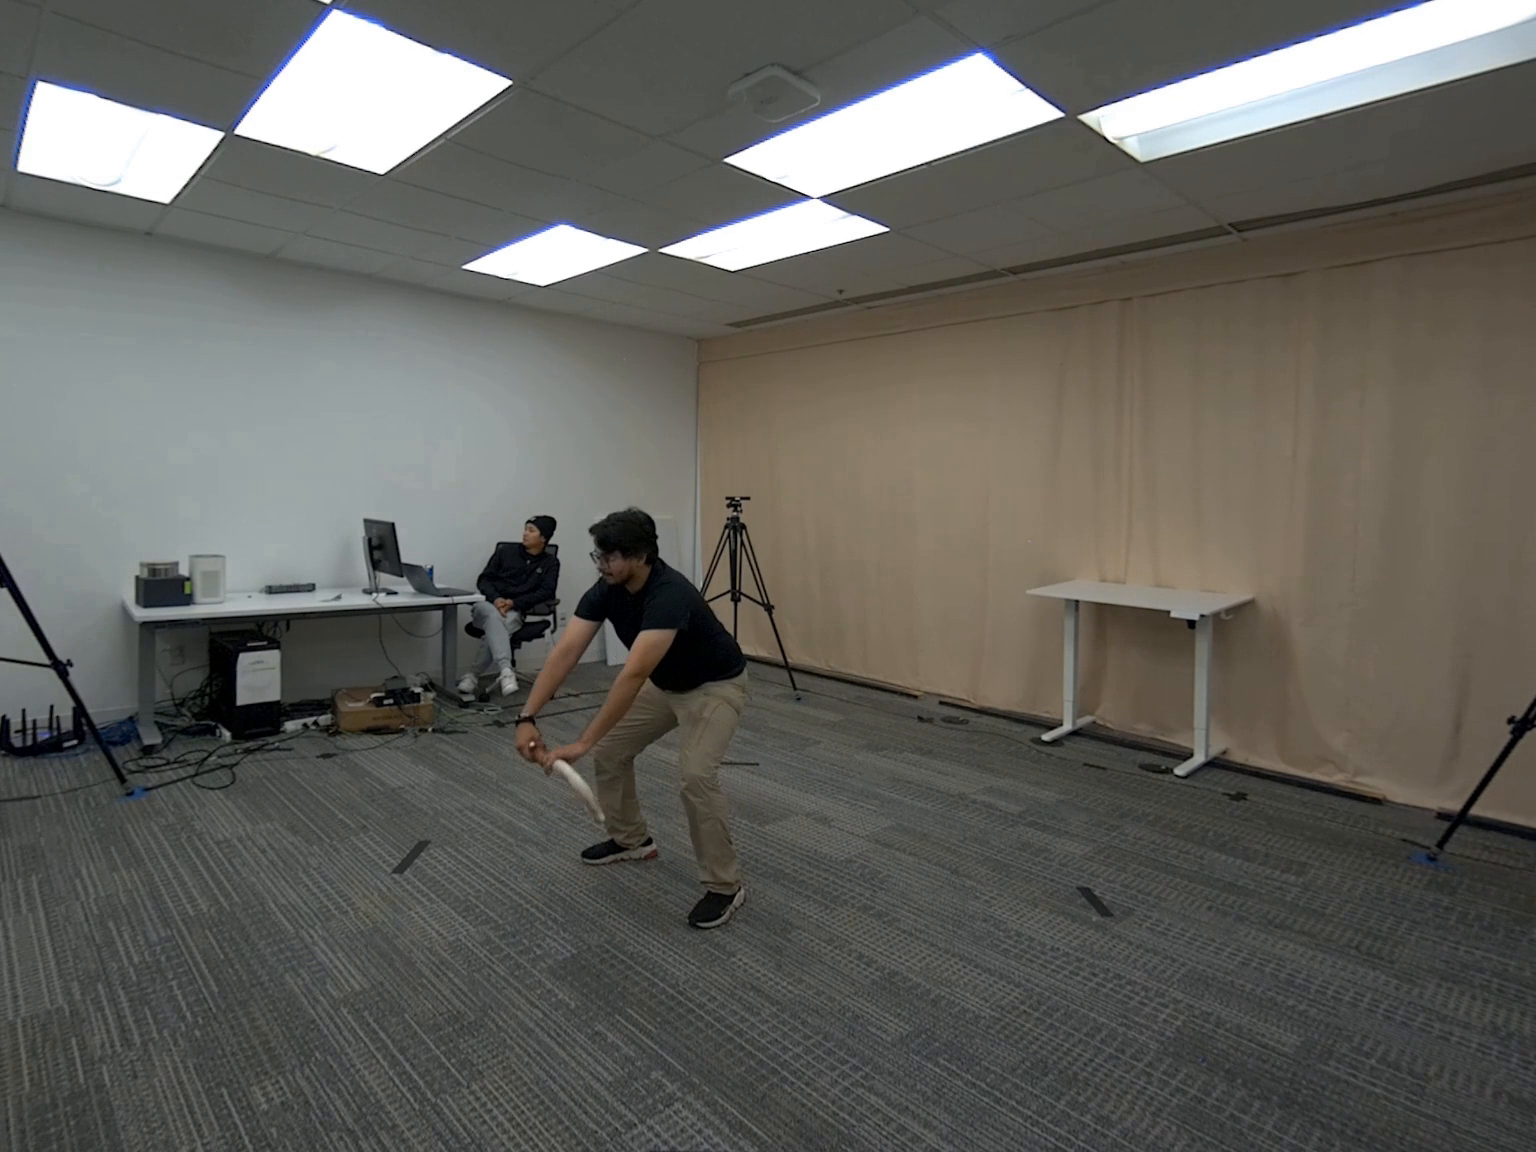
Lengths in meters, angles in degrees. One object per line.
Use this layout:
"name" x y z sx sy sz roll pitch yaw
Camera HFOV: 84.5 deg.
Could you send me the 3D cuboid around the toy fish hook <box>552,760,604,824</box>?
"toy fish hook" -0.650 0.631 2.546 0.048 0.221 0.519 -27 21 -29
